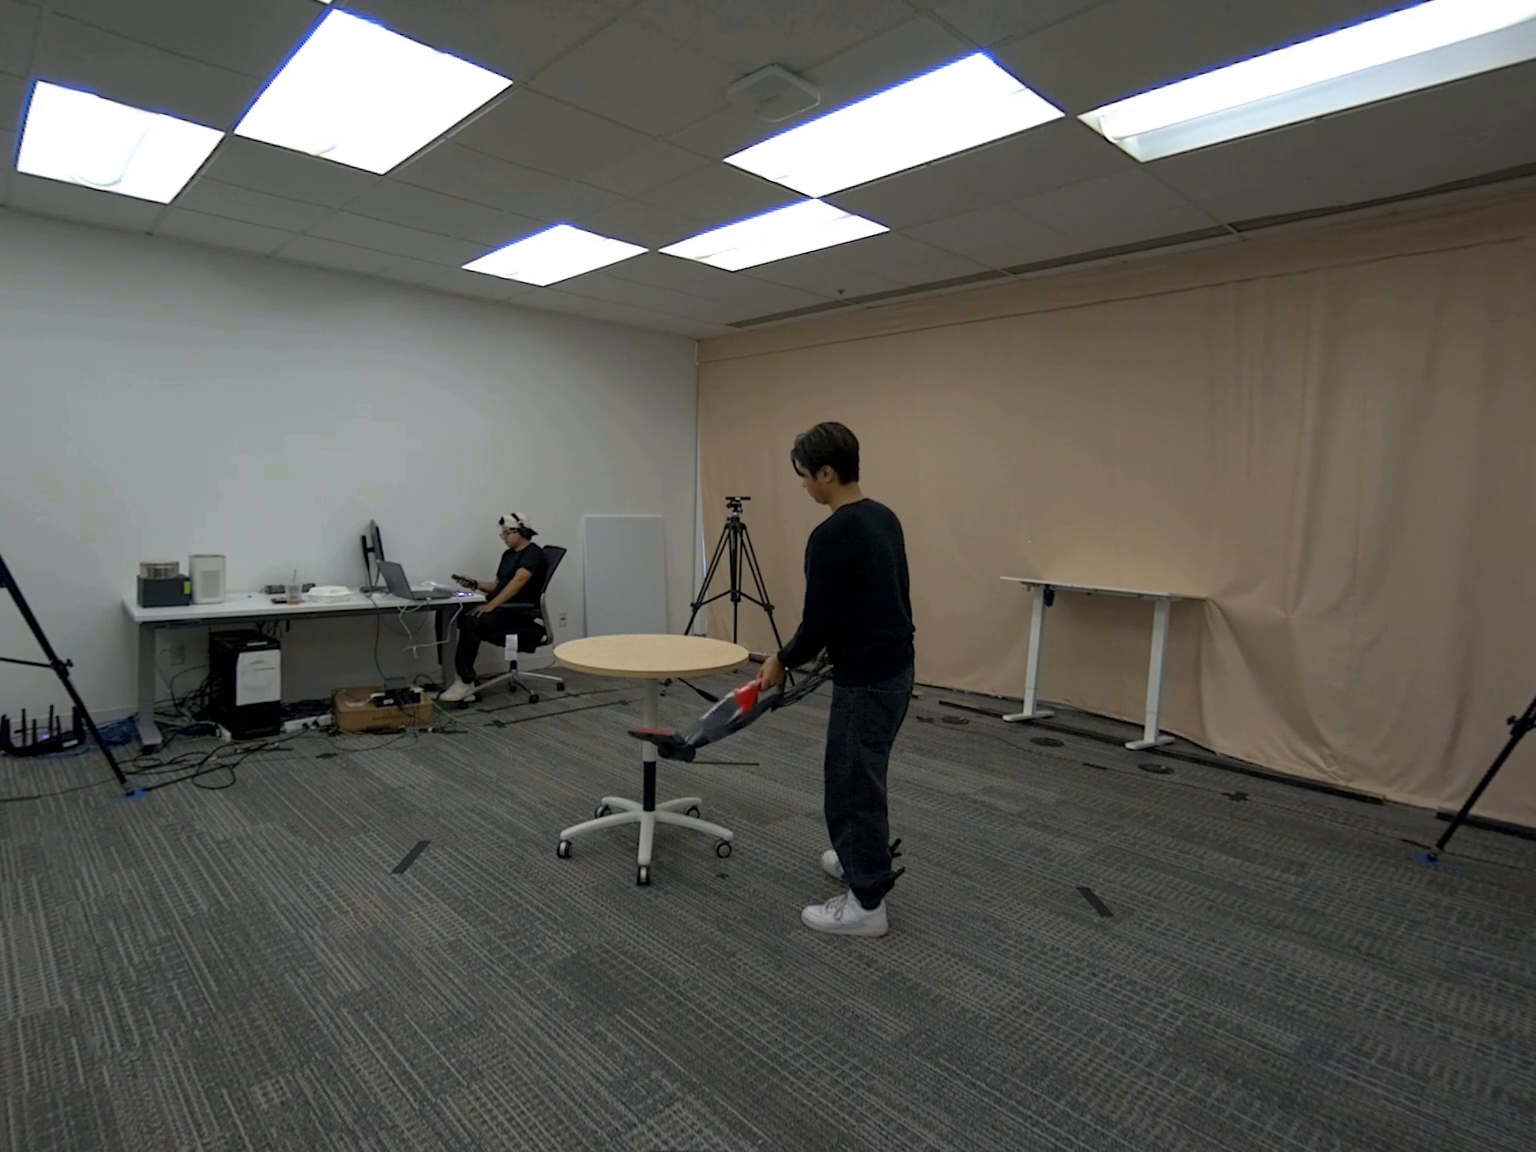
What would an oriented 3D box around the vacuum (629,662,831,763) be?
[{"bbox_3d":[0.043,0.370,2.868,1.034,0.143,0.258,-21,9,-41],"label":"vacuum"}]
